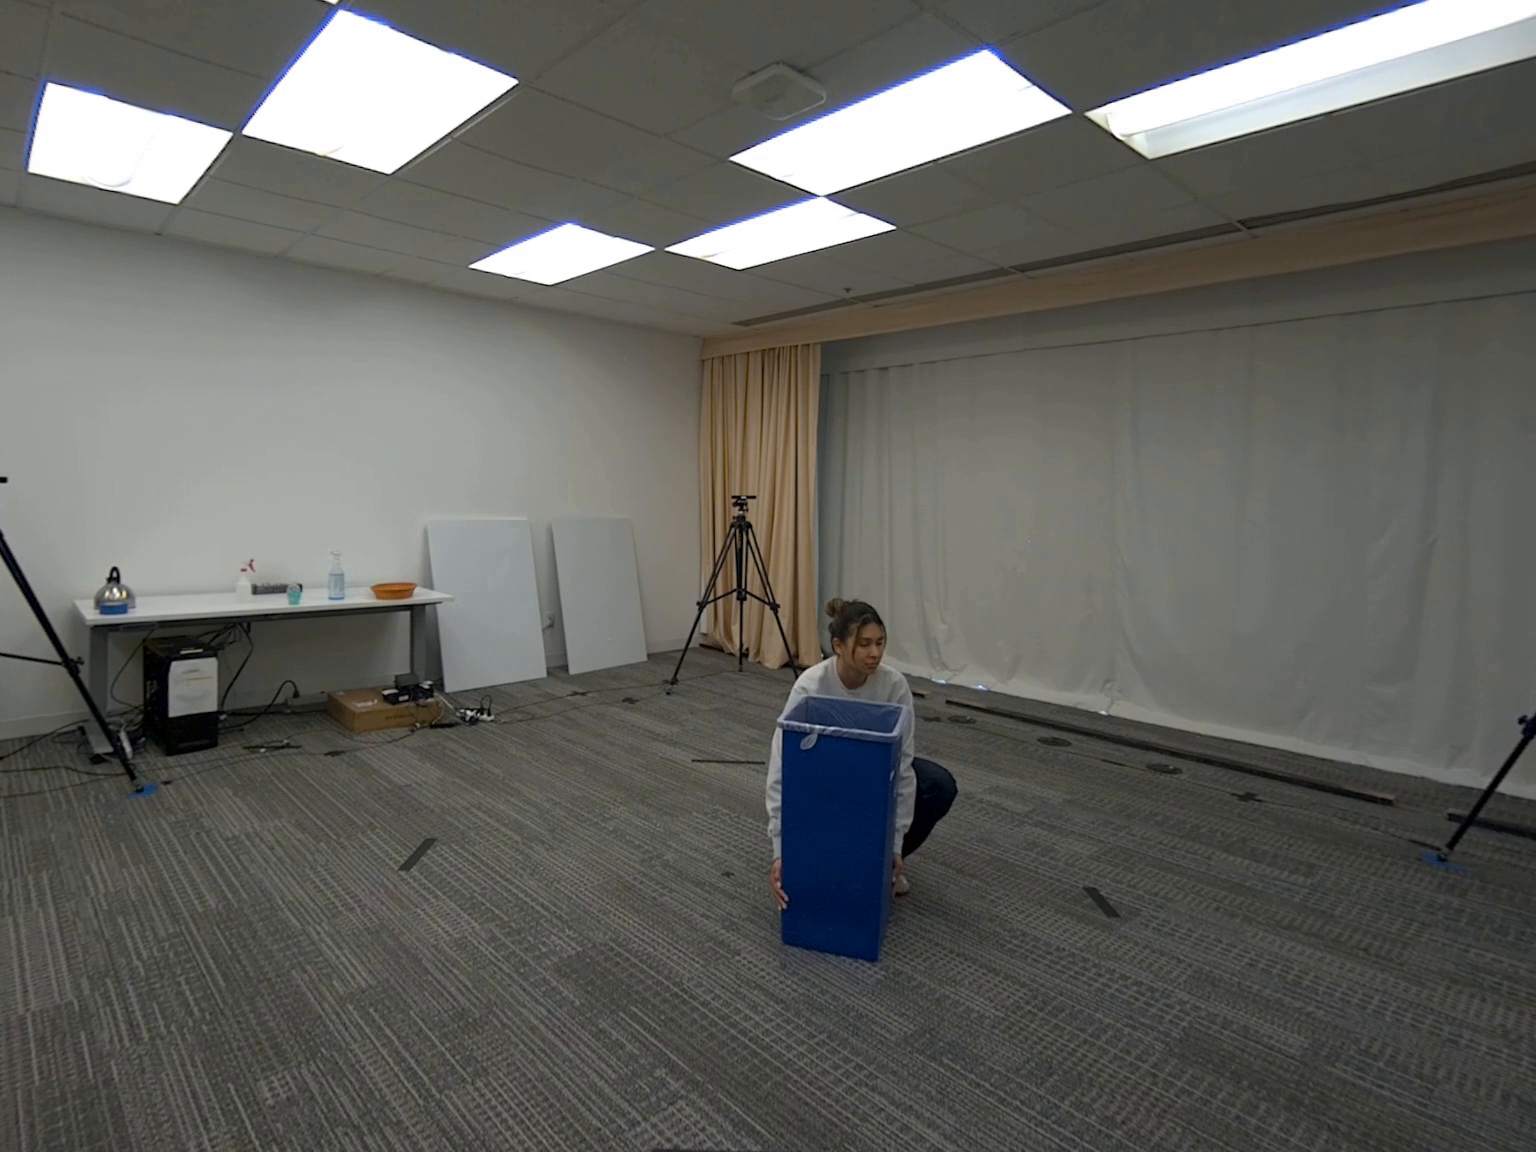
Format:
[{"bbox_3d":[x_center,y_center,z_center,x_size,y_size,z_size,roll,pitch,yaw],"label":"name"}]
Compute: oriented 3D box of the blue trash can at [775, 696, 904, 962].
[{"bbox_3d":[0.231,0.786,2.691,0.383,0.711,0.370,3,5,16],"label":"blue trash can"}]
